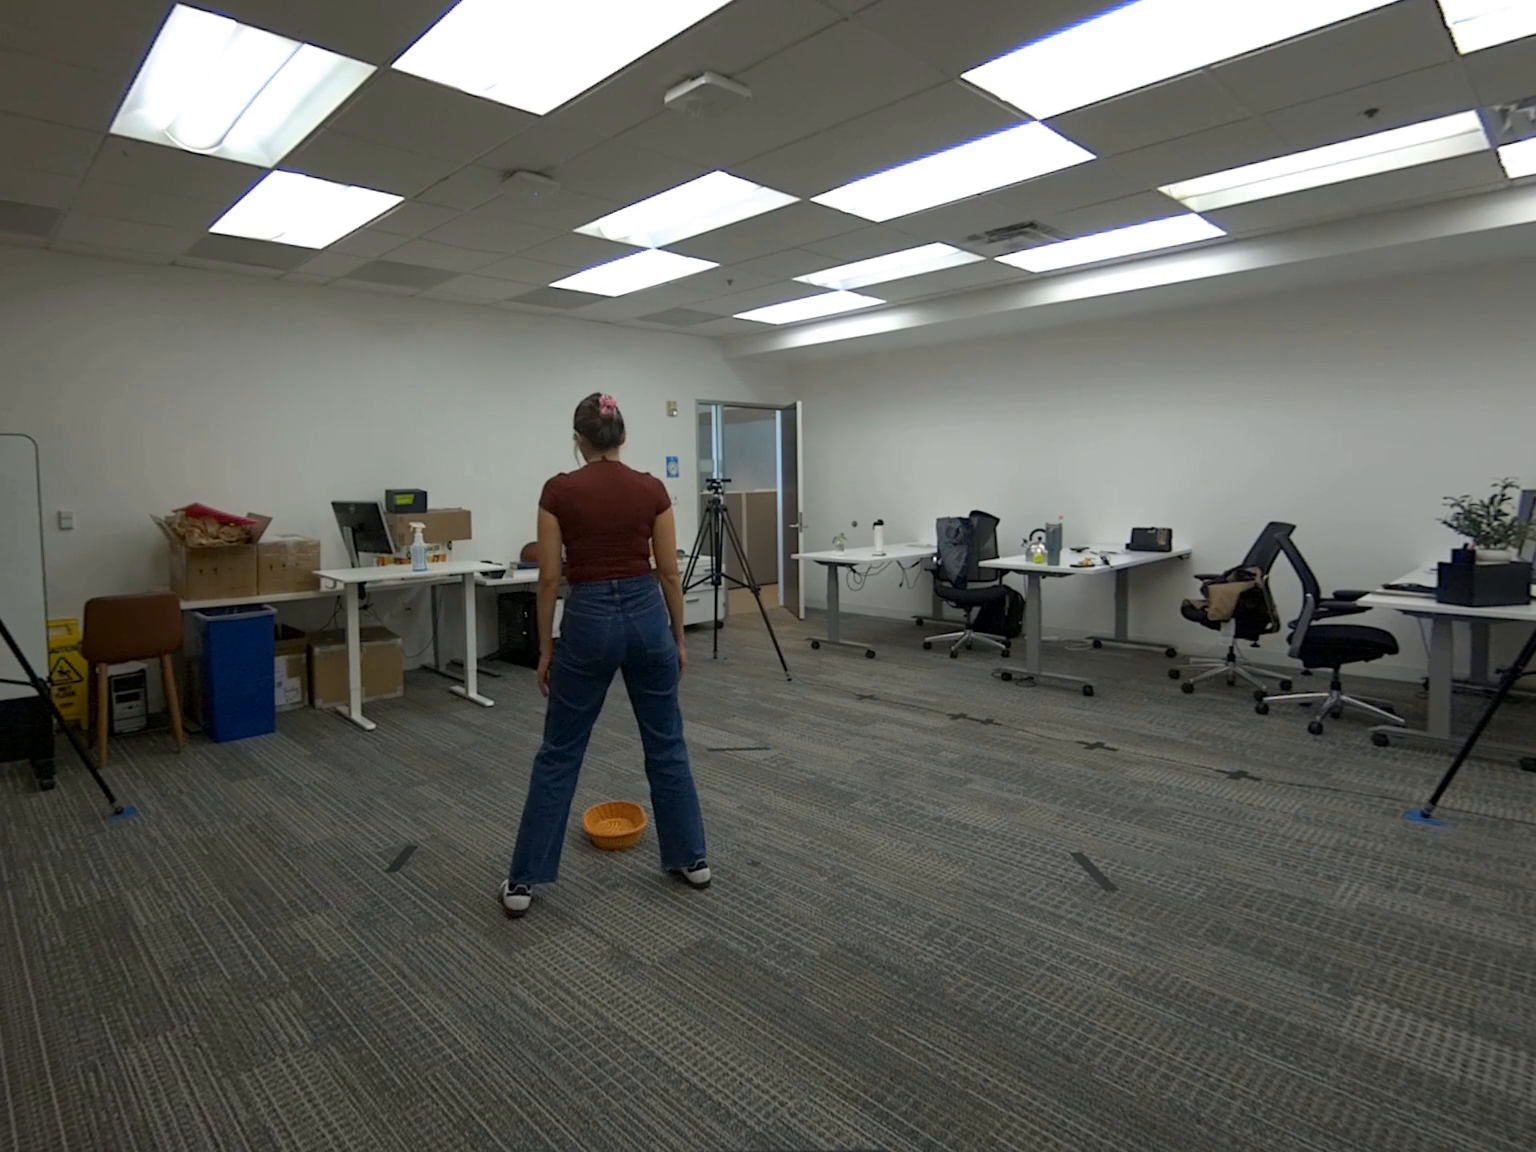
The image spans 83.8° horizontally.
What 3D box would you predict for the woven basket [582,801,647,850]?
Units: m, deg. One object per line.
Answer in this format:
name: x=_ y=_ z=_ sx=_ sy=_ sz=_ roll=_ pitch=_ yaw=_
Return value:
woven basket: x=-0.608 y=0.986 z=3.375 sx=0.250 sy=0.073 sz=0.356 roll=-4 pitch=7 yaw=-12
